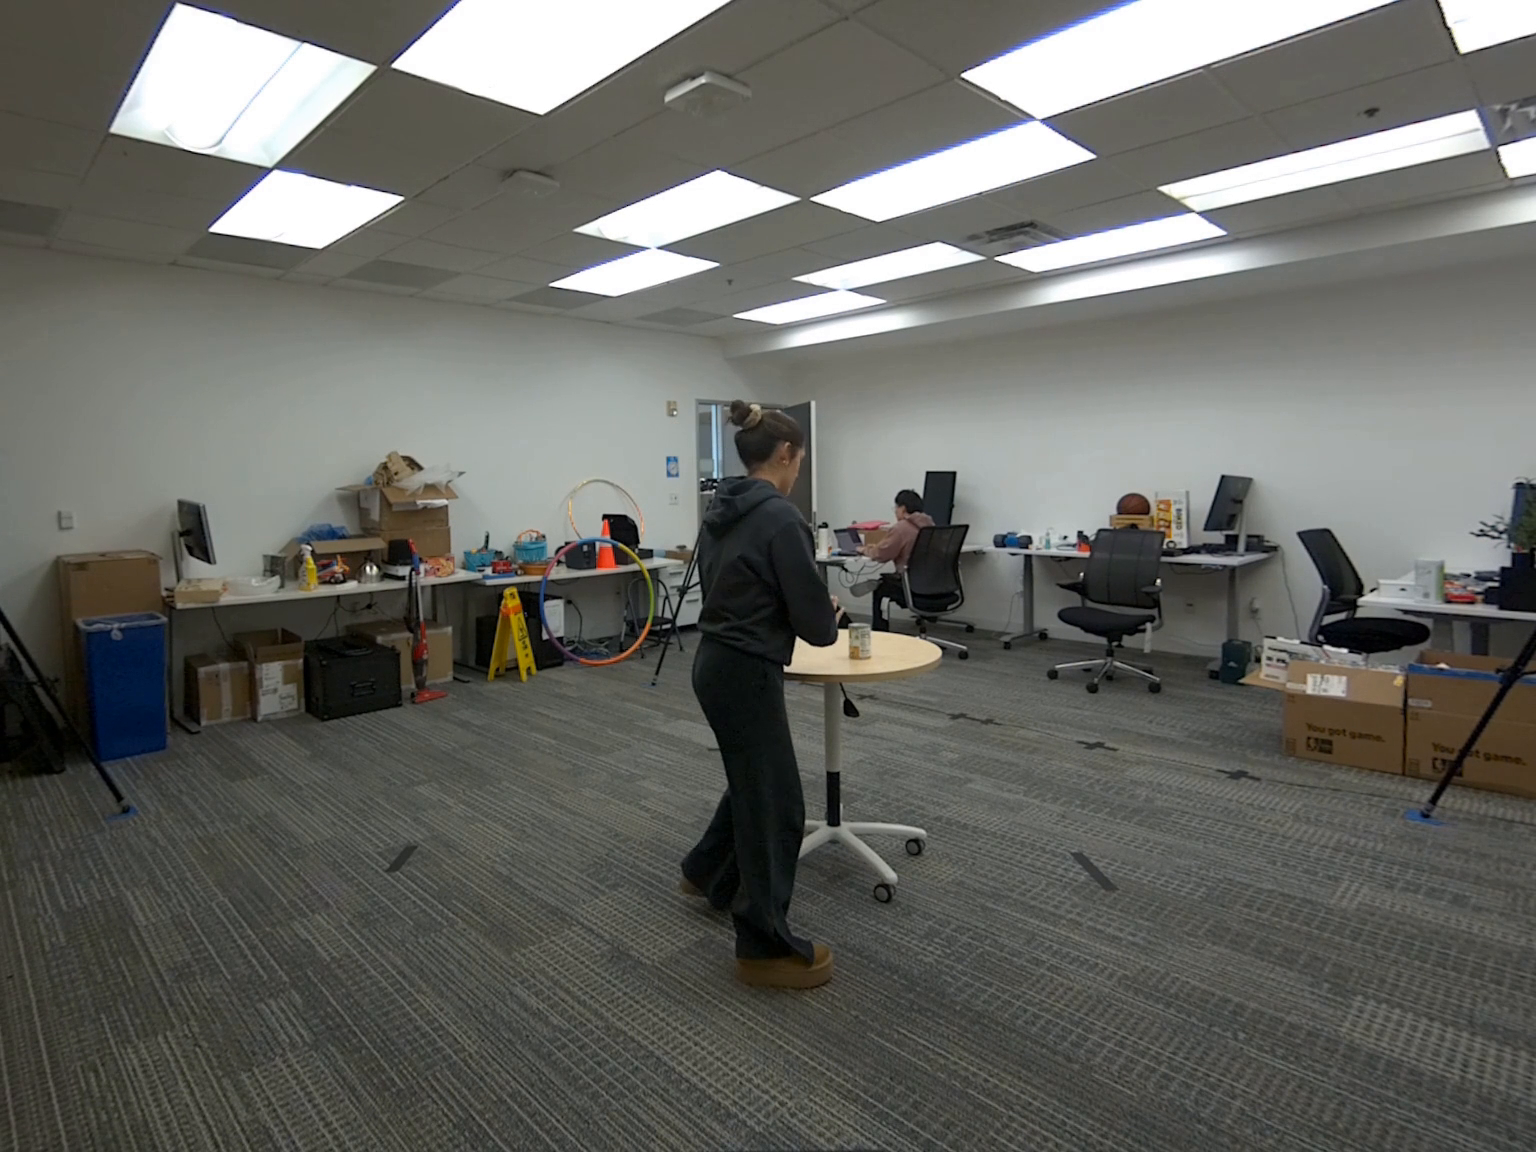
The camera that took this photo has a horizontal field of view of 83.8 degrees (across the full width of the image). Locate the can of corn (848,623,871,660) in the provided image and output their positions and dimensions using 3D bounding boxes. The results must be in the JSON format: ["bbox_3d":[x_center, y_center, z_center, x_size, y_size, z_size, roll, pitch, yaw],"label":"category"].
[{"bbox_3d":[0.315,0.221,2.896,0.074,0.110,0.074,0,5,-2],"label":"can of corn"}]
